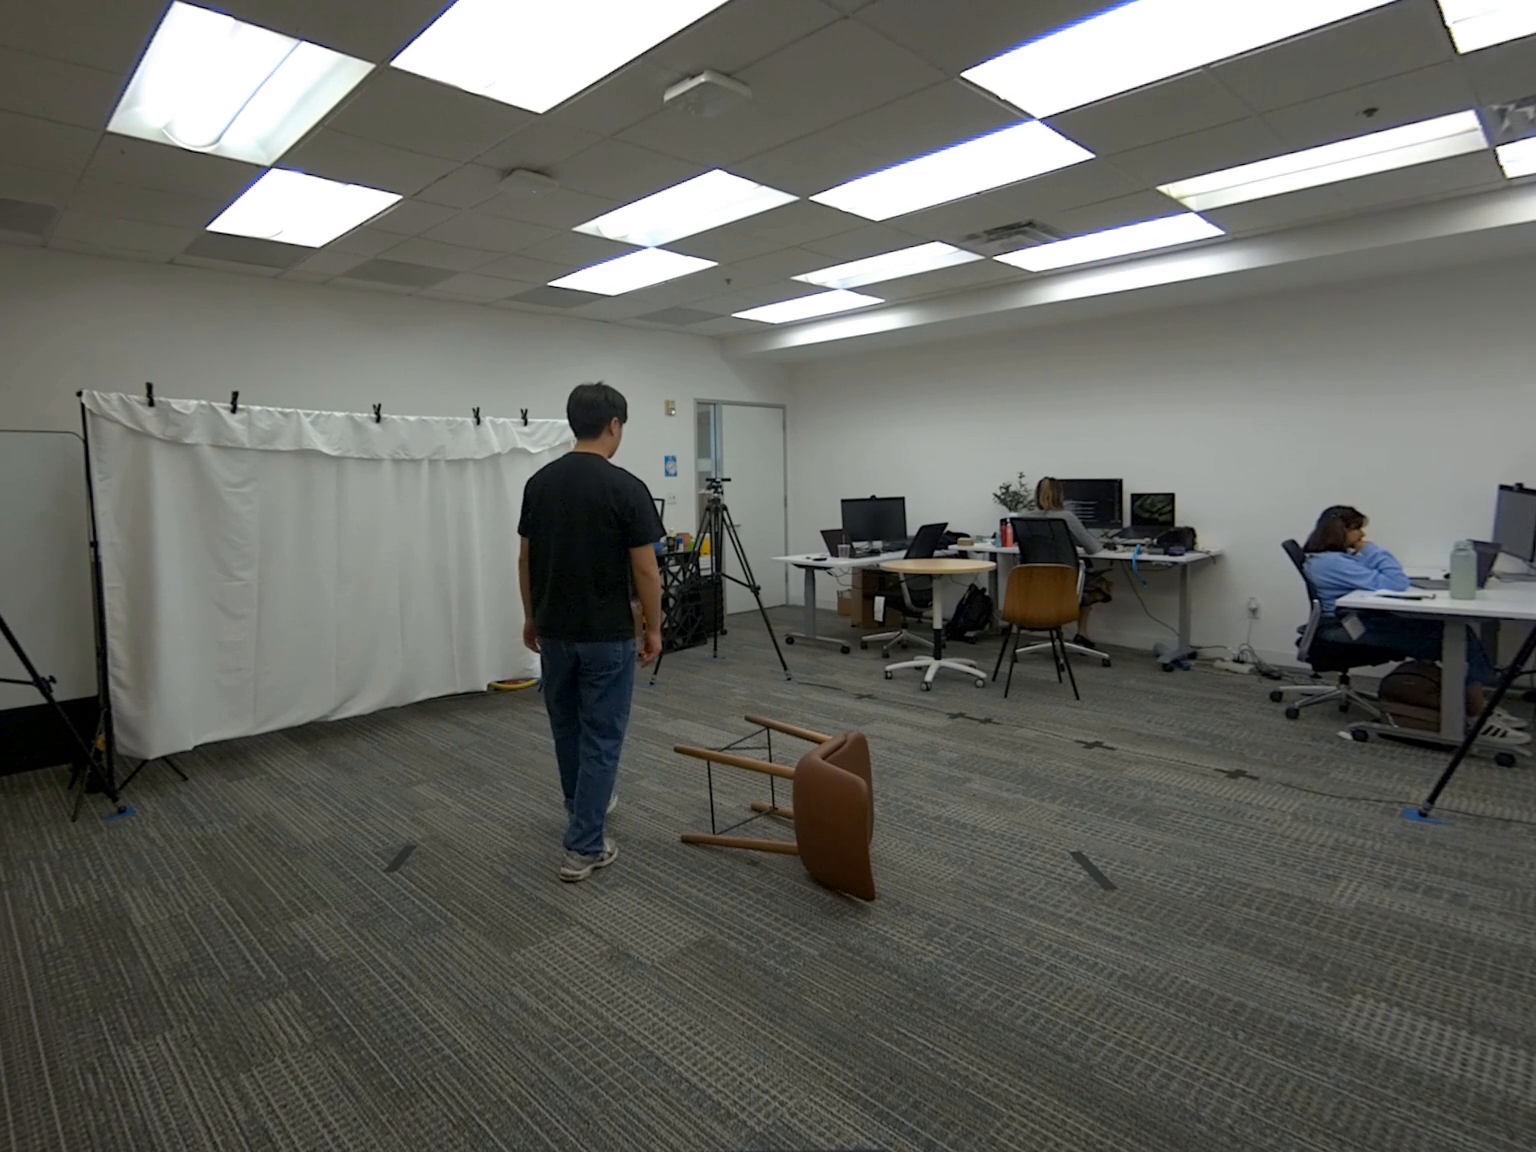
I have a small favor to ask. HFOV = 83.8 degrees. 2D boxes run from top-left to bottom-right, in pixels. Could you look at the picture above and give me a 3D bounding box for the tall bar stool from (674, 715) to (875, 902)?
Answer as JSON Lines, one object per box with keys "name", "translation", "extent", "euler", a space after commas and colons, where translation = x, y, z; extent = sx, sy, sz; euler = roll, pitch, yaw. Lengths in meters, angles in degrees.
{"name": "tall bar stool", "translation": [0.126, 0.817, 3.156], "extent": [0.916, 0.455, 0.456], "euler": [1, 7, 42]}
